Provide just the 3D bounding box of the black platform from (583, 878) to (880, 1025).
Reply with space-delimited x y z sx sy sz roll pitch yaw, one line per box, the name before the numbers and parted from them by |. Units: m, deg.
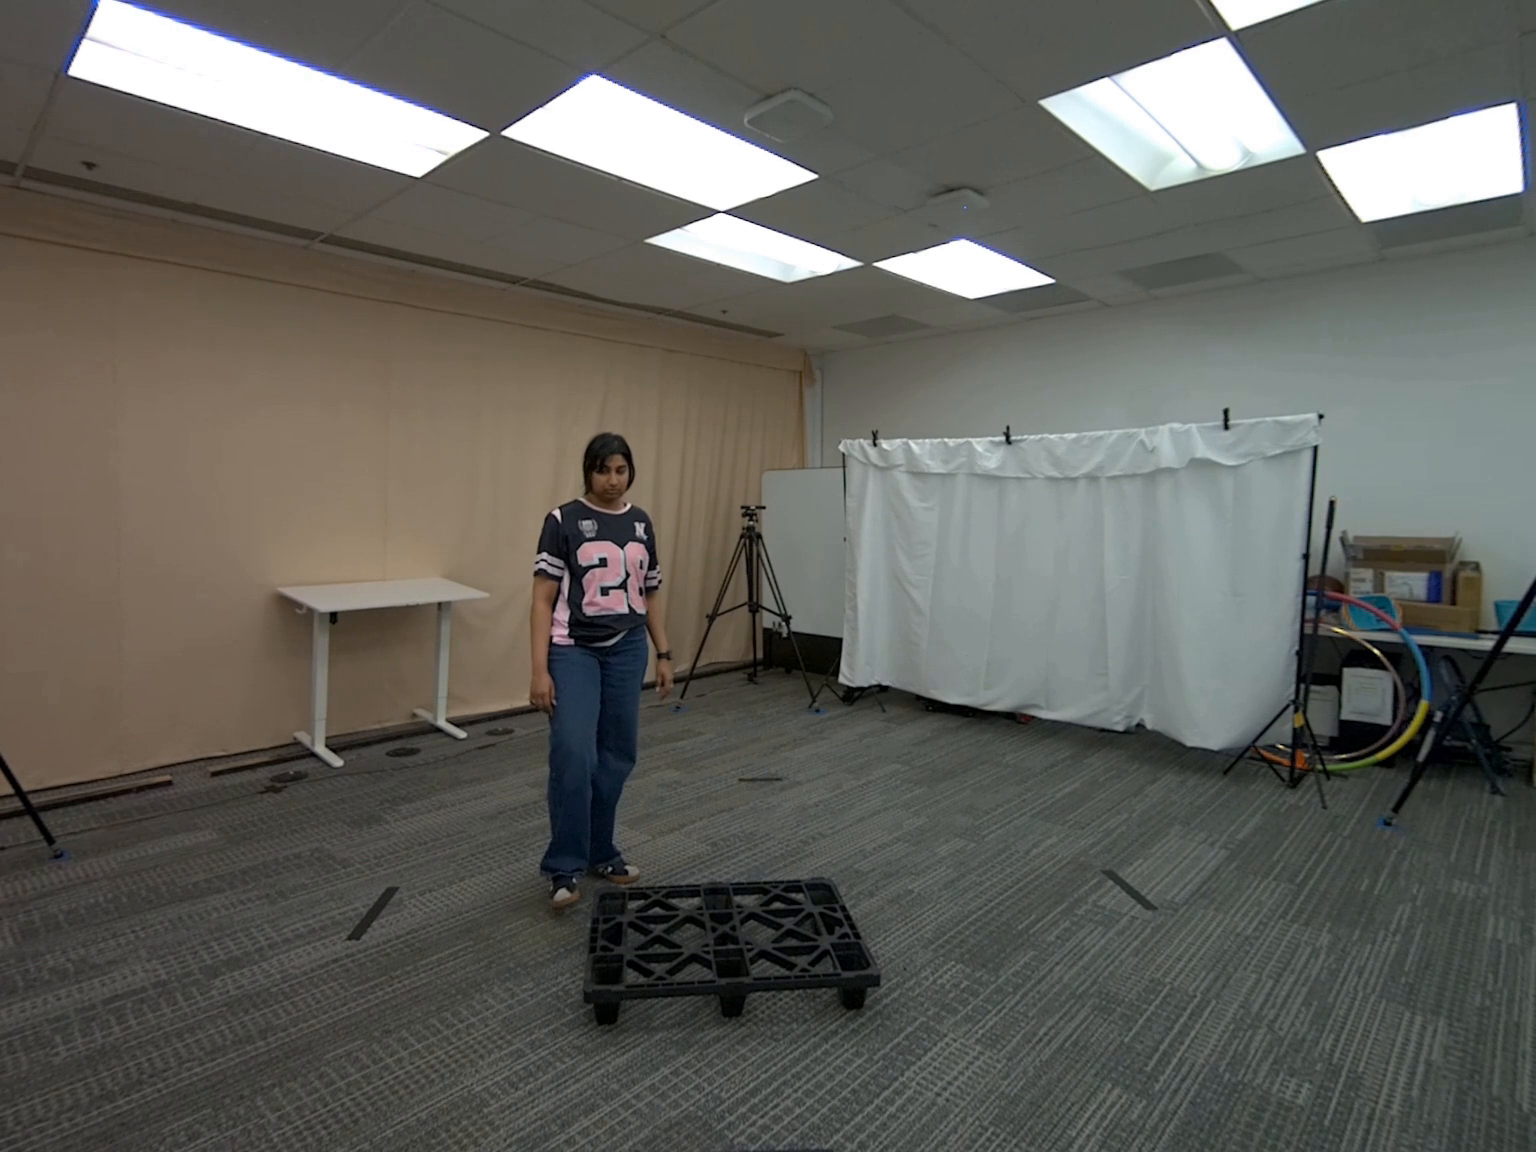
black platform | -0.132 1.116 2.519 0.801 0.143 0.610 -1 4 -6
